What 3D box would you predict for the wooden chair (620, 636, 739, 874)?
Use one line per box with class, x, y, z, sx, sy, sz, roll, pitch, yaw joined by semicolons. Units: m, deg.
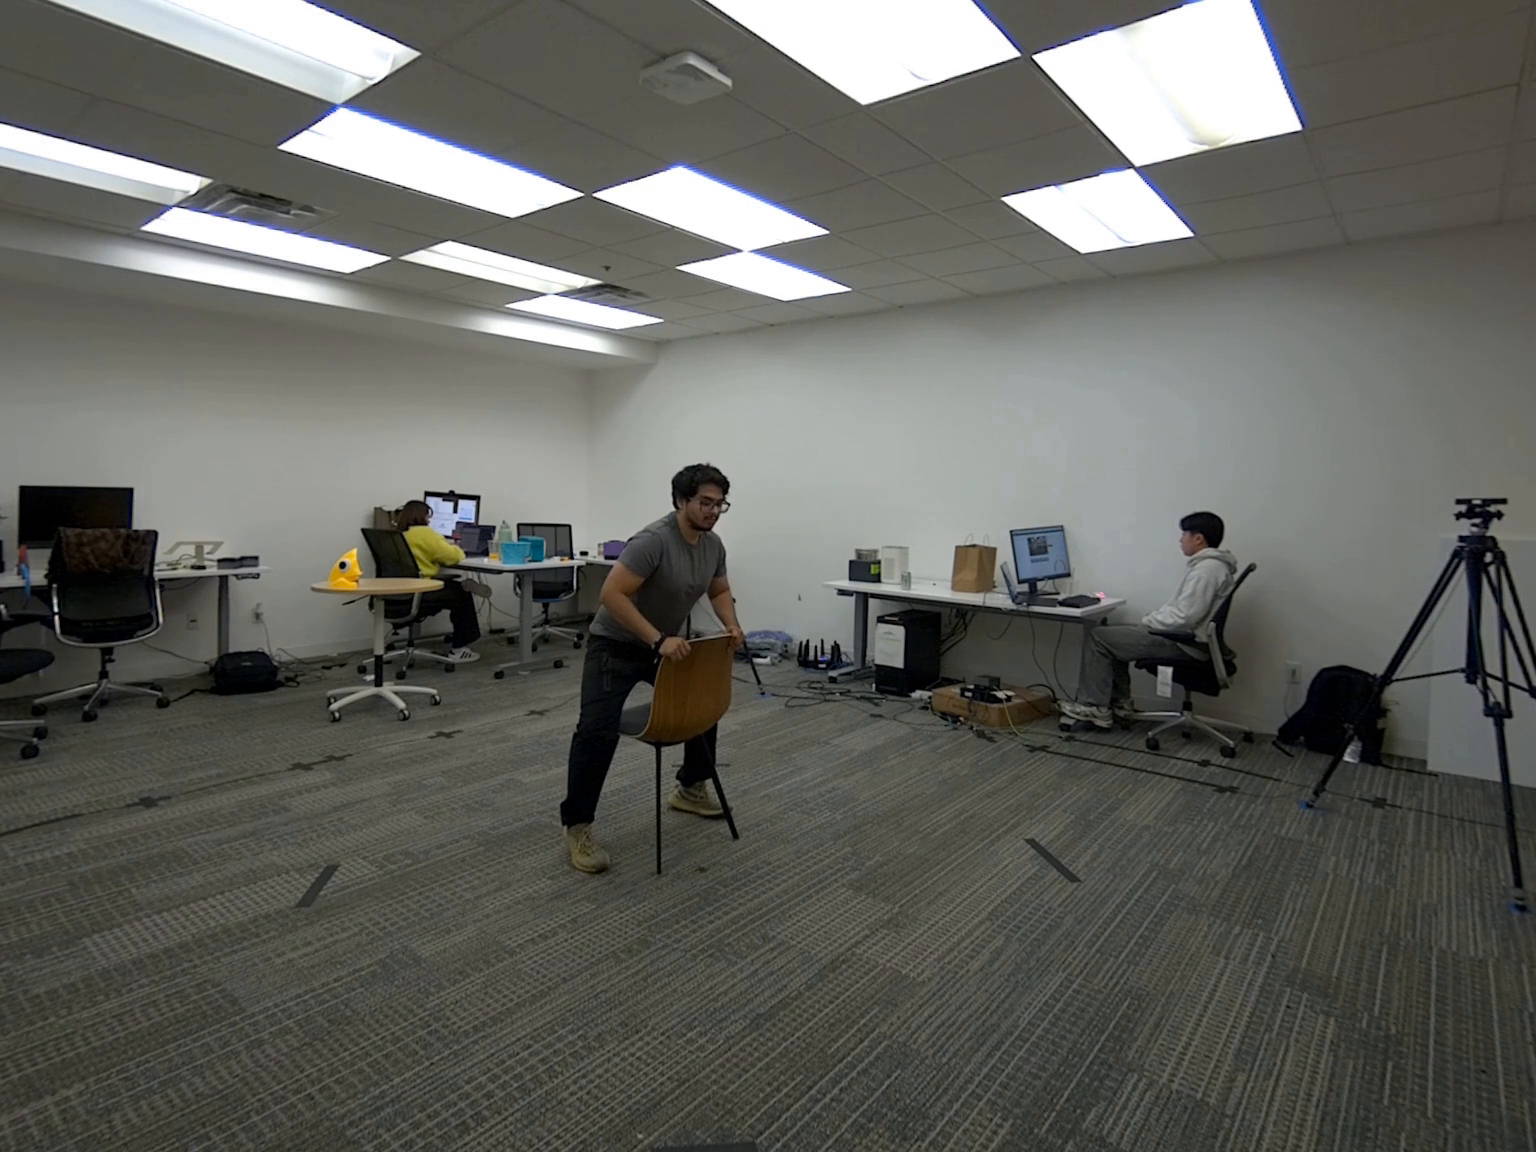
wooden chair;-0.434;0.616;3.346;0.542;0.873;0.464;9;7;39
